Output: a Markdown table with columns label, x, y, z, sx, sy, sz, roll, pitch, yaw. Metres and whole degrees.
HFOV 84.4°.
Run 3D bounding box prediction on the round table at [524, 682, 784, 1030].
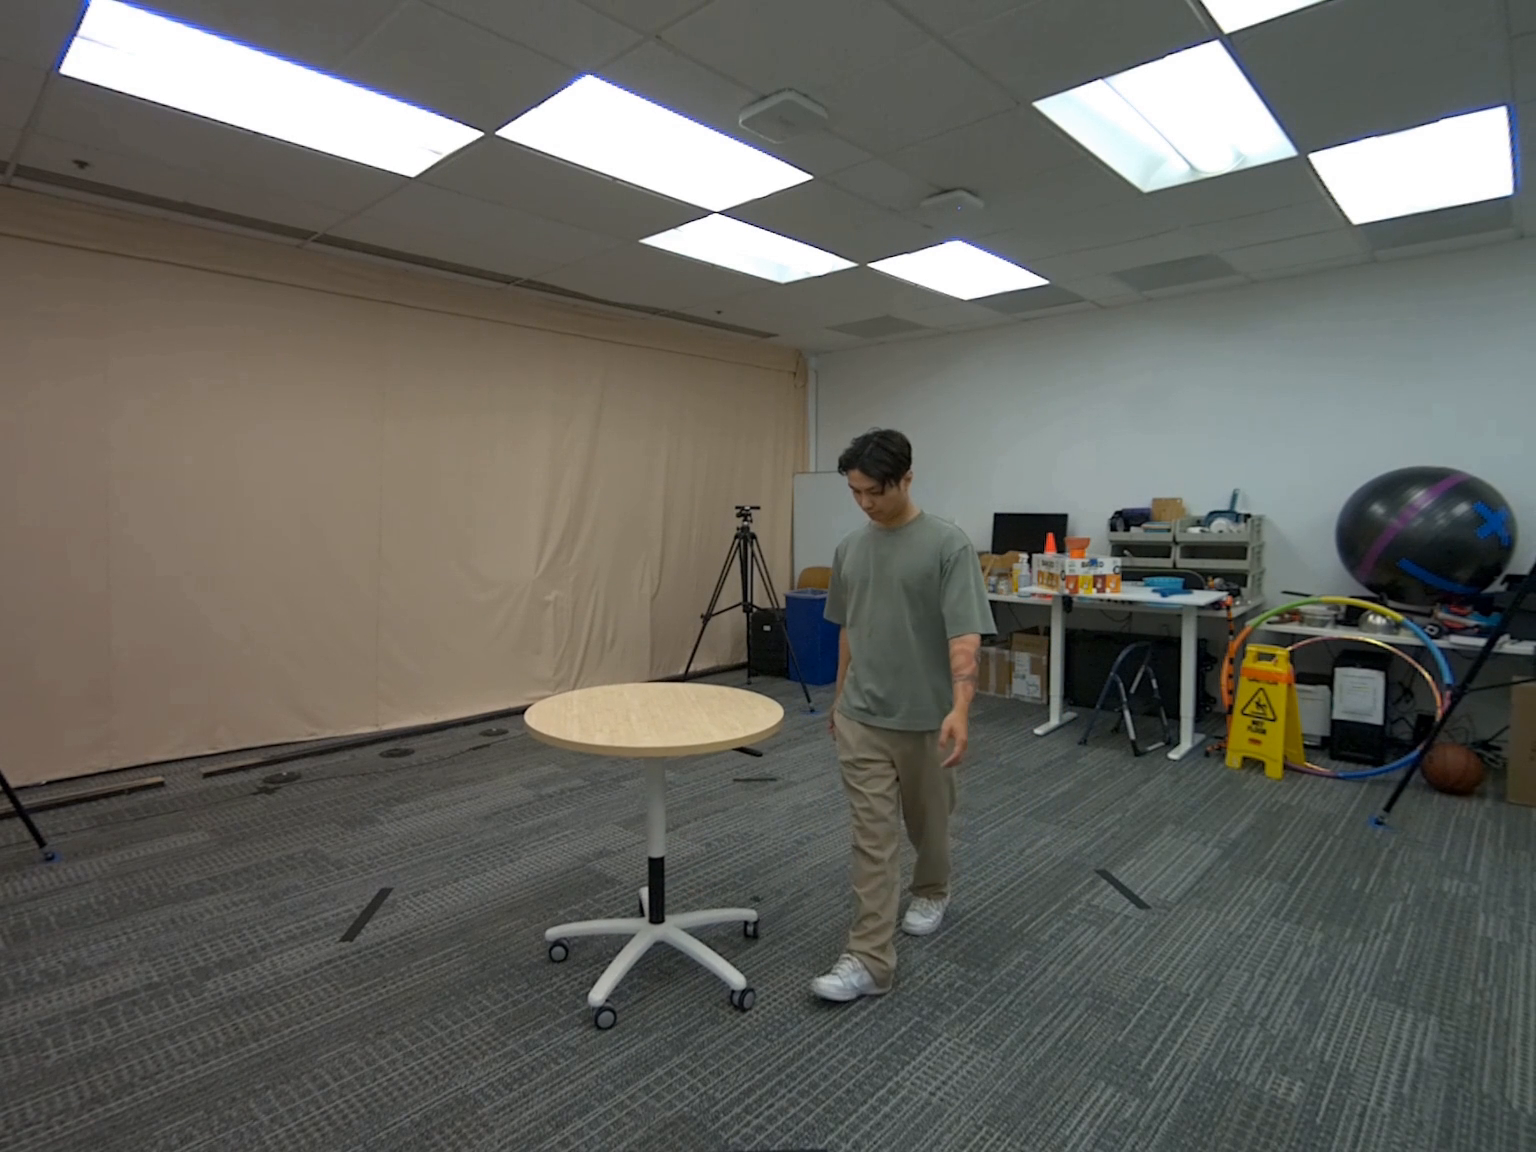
| label | x | y | z | sx | sy | sz | roll | pitch | yaw |
| --- | --- | --- | --- | --- | --- | --- | --- | --- | --- |
| round table | -0.318 | 0.791 | 2.540 | 0.784 | 0.784 | 0.788 | 0 | 4 | -2 |
